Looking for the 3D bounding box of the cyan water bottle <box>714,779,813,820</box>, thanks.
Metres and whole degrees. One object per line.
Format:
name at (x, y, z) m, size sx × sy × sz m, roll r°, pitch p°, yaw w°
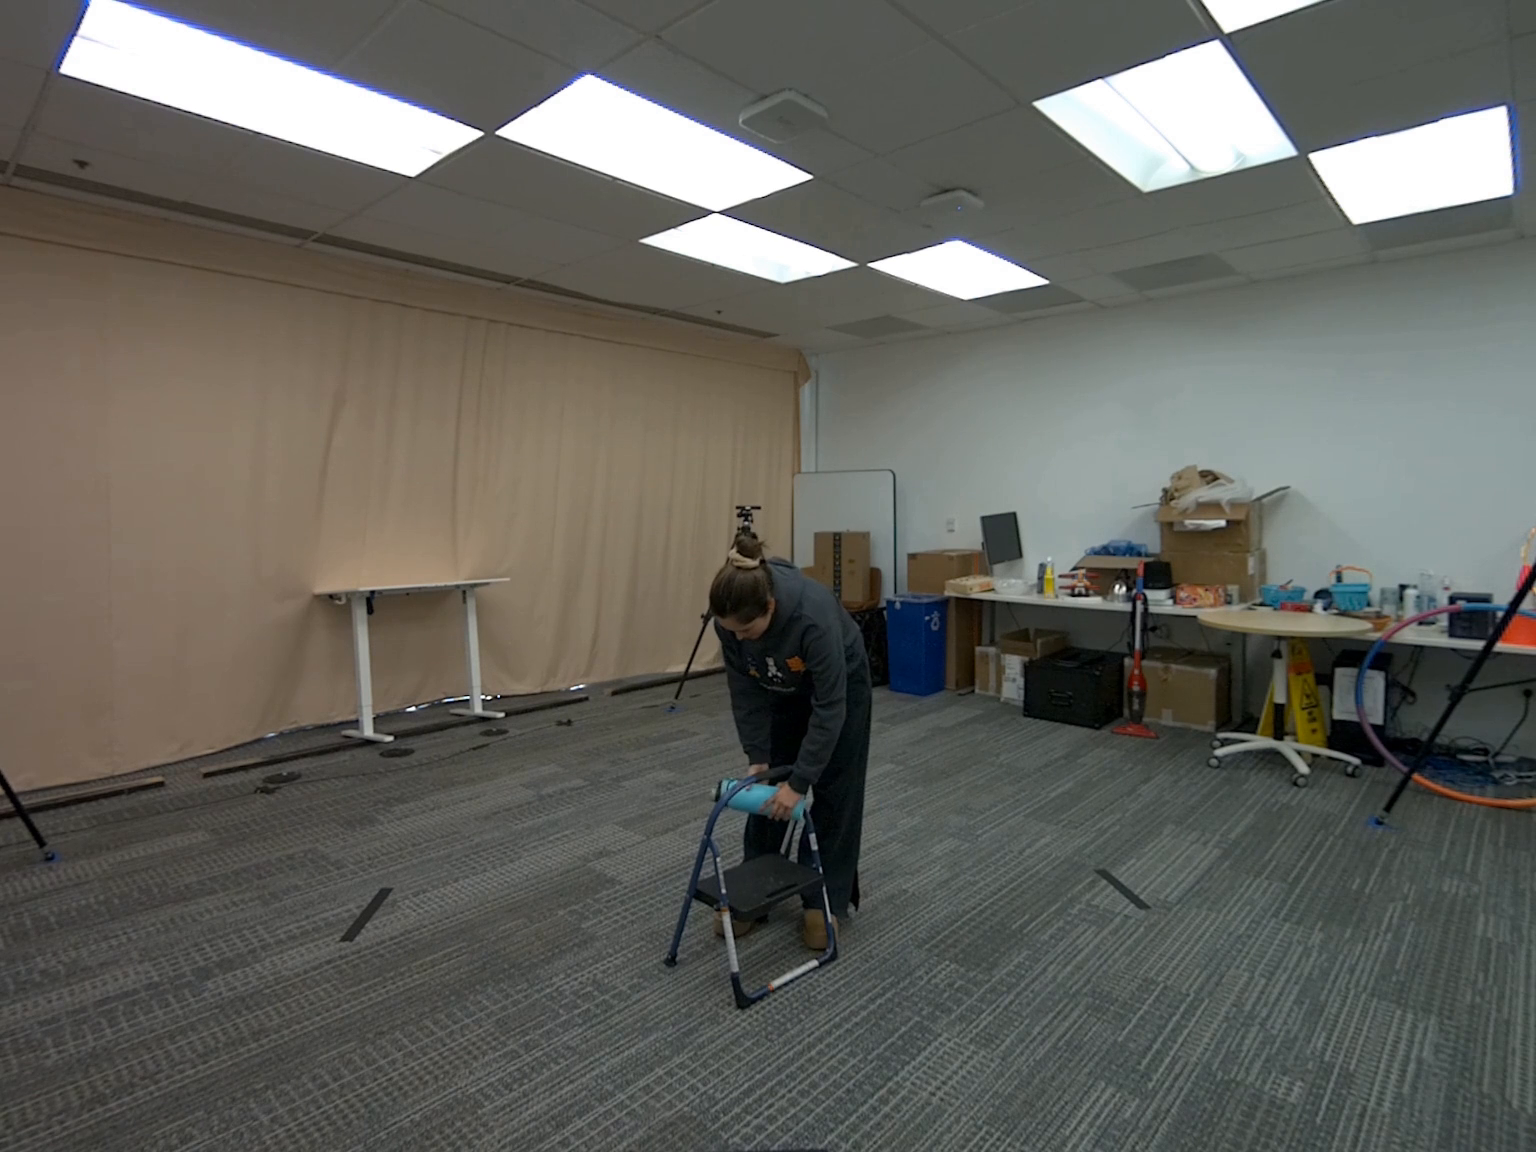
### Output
cyan water bottle at (-0.010, 0.694, 2.587) m, size 0.287 × 0.092 × 0.091 m, roll 2°, pitch 4°, yaw 11°
